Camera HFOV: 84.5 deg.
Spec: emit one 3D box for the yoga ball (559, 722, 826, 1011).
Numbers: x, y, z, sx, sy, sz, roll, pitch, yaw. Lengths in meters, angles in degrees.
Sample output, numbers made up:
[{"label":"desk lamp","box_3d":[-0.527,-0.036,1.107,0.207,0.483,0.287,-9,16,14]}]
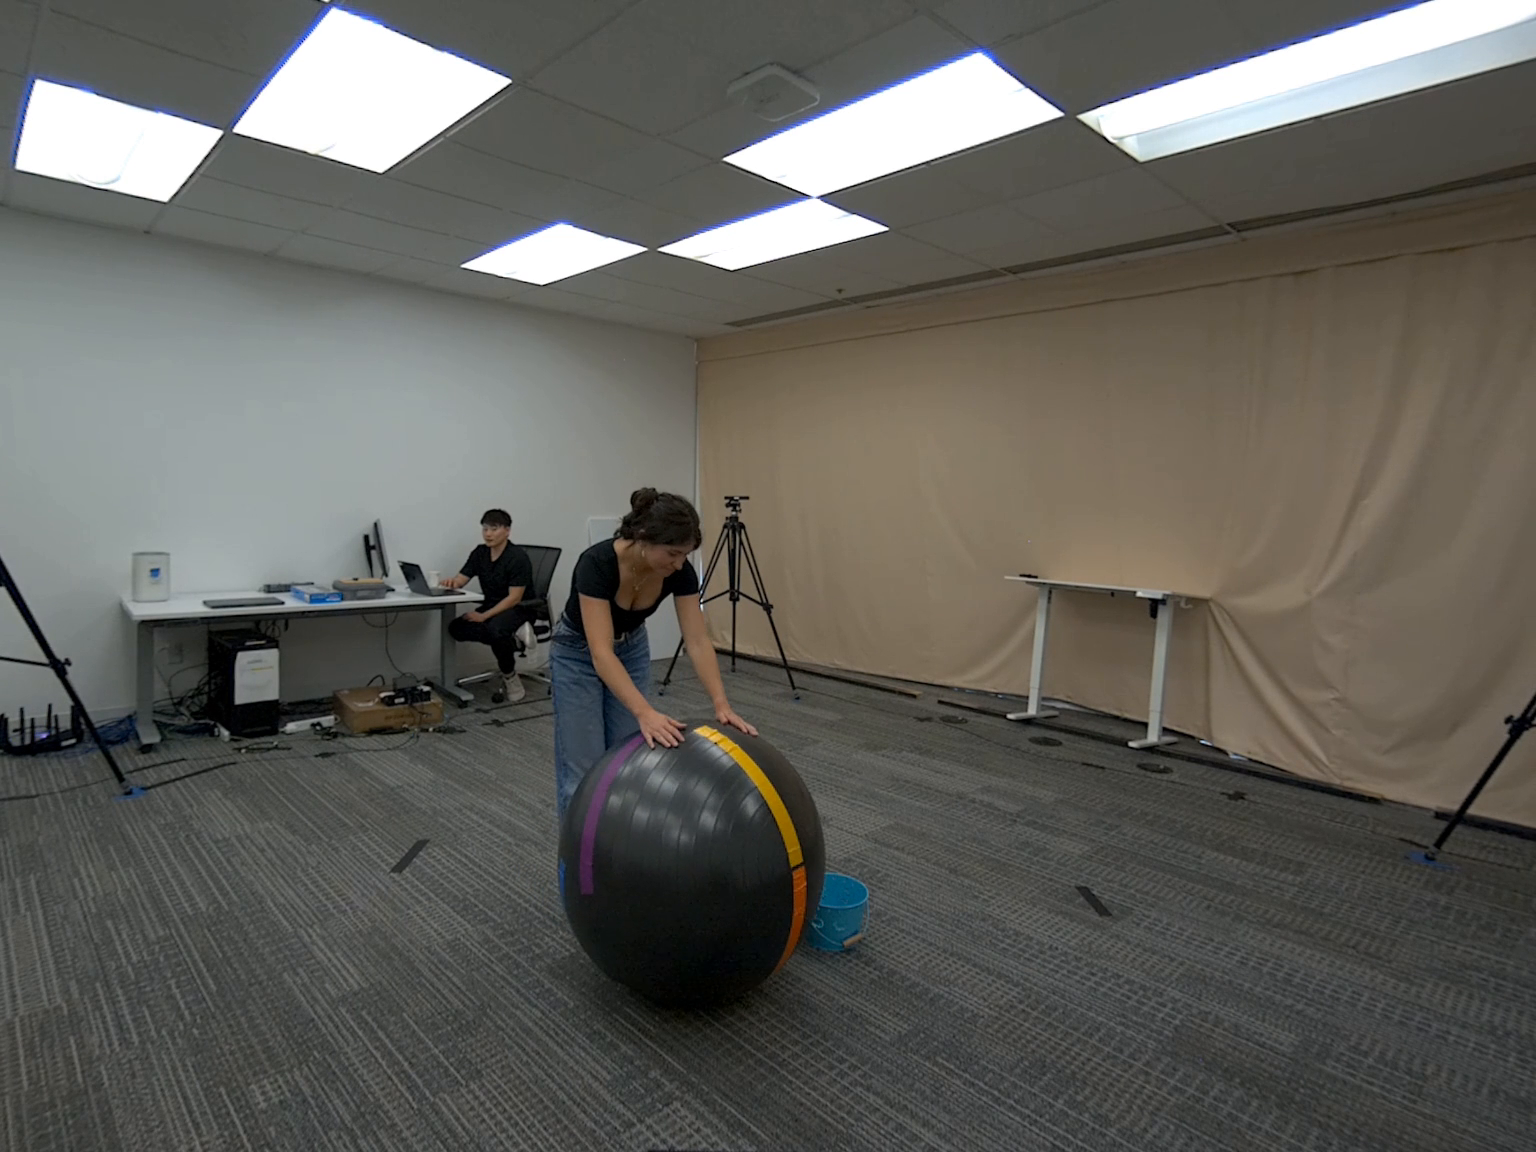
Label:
[{"label":"yoga ball","box_3d":[-0.220,0.799,2.389,0.757,0.756,0.761,1,4,-1]}]
